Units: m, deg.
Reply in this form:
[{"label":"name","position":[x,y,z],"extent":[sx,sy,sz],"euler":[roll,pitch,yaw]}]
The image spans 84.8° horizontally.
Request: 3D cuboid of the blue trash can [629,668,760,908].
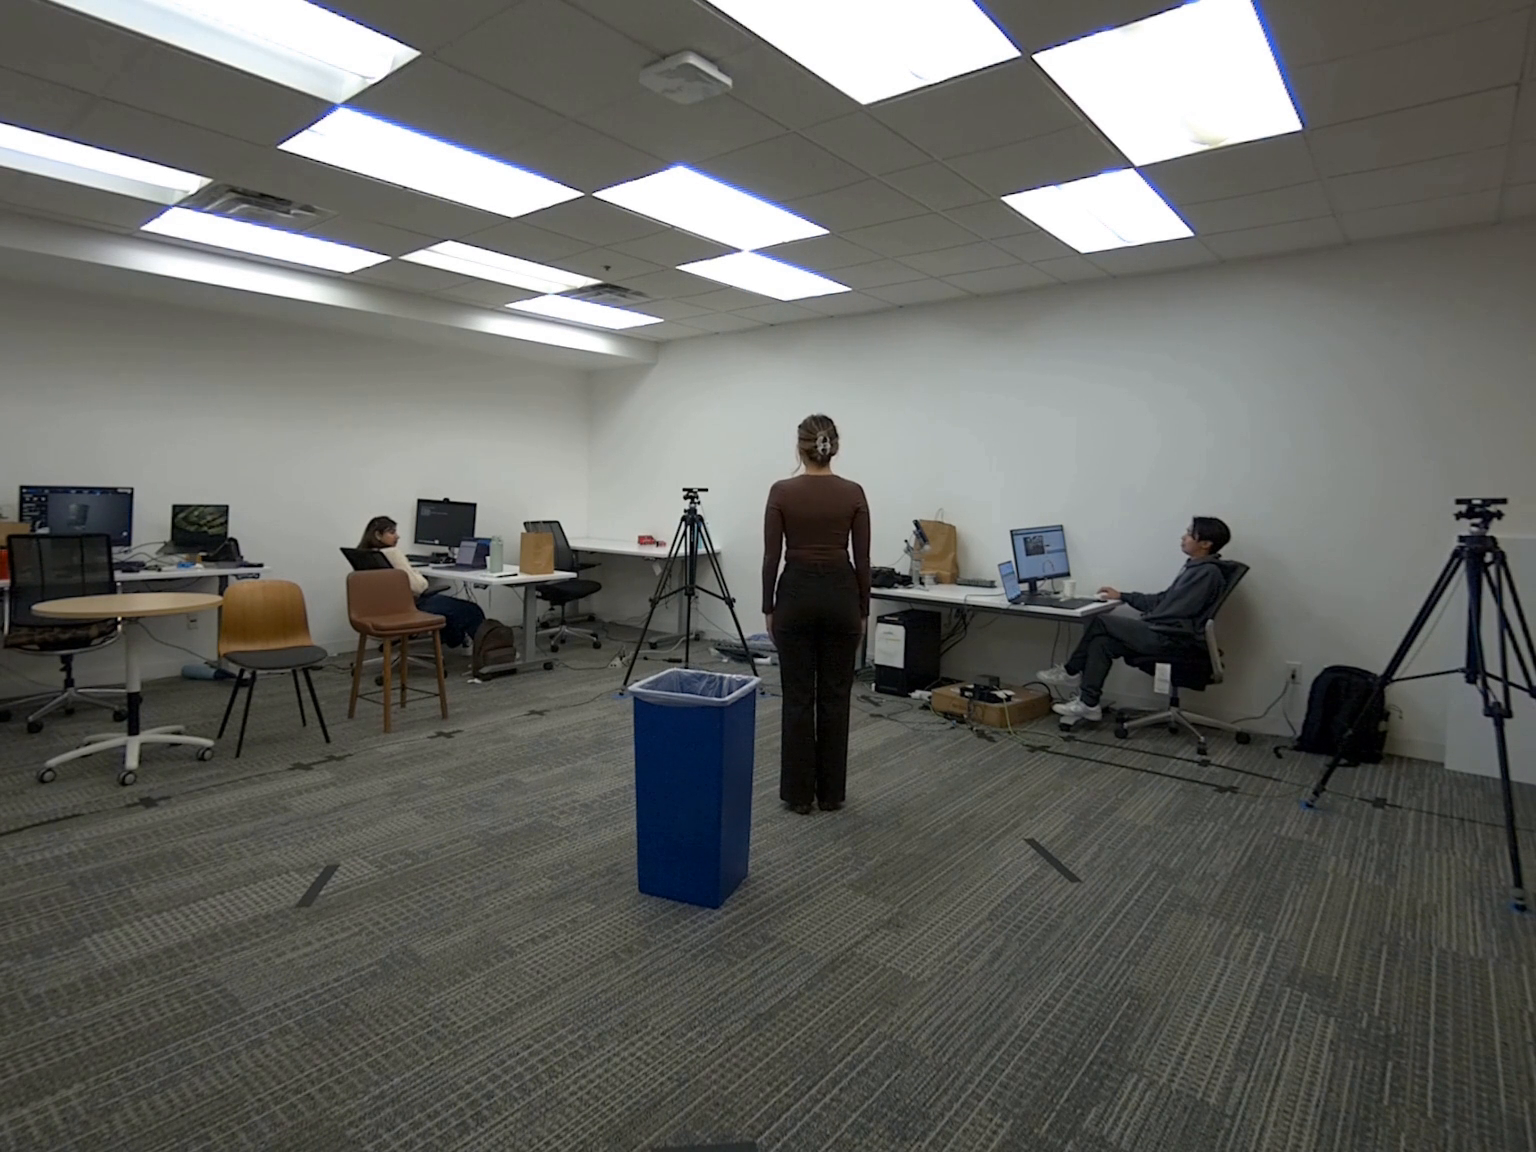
[{"label":"blue trash can","position":[-0.259,0.720,2.985],"extent":[0.382,0.712,0.371],"euler":[1,3,20]}]
